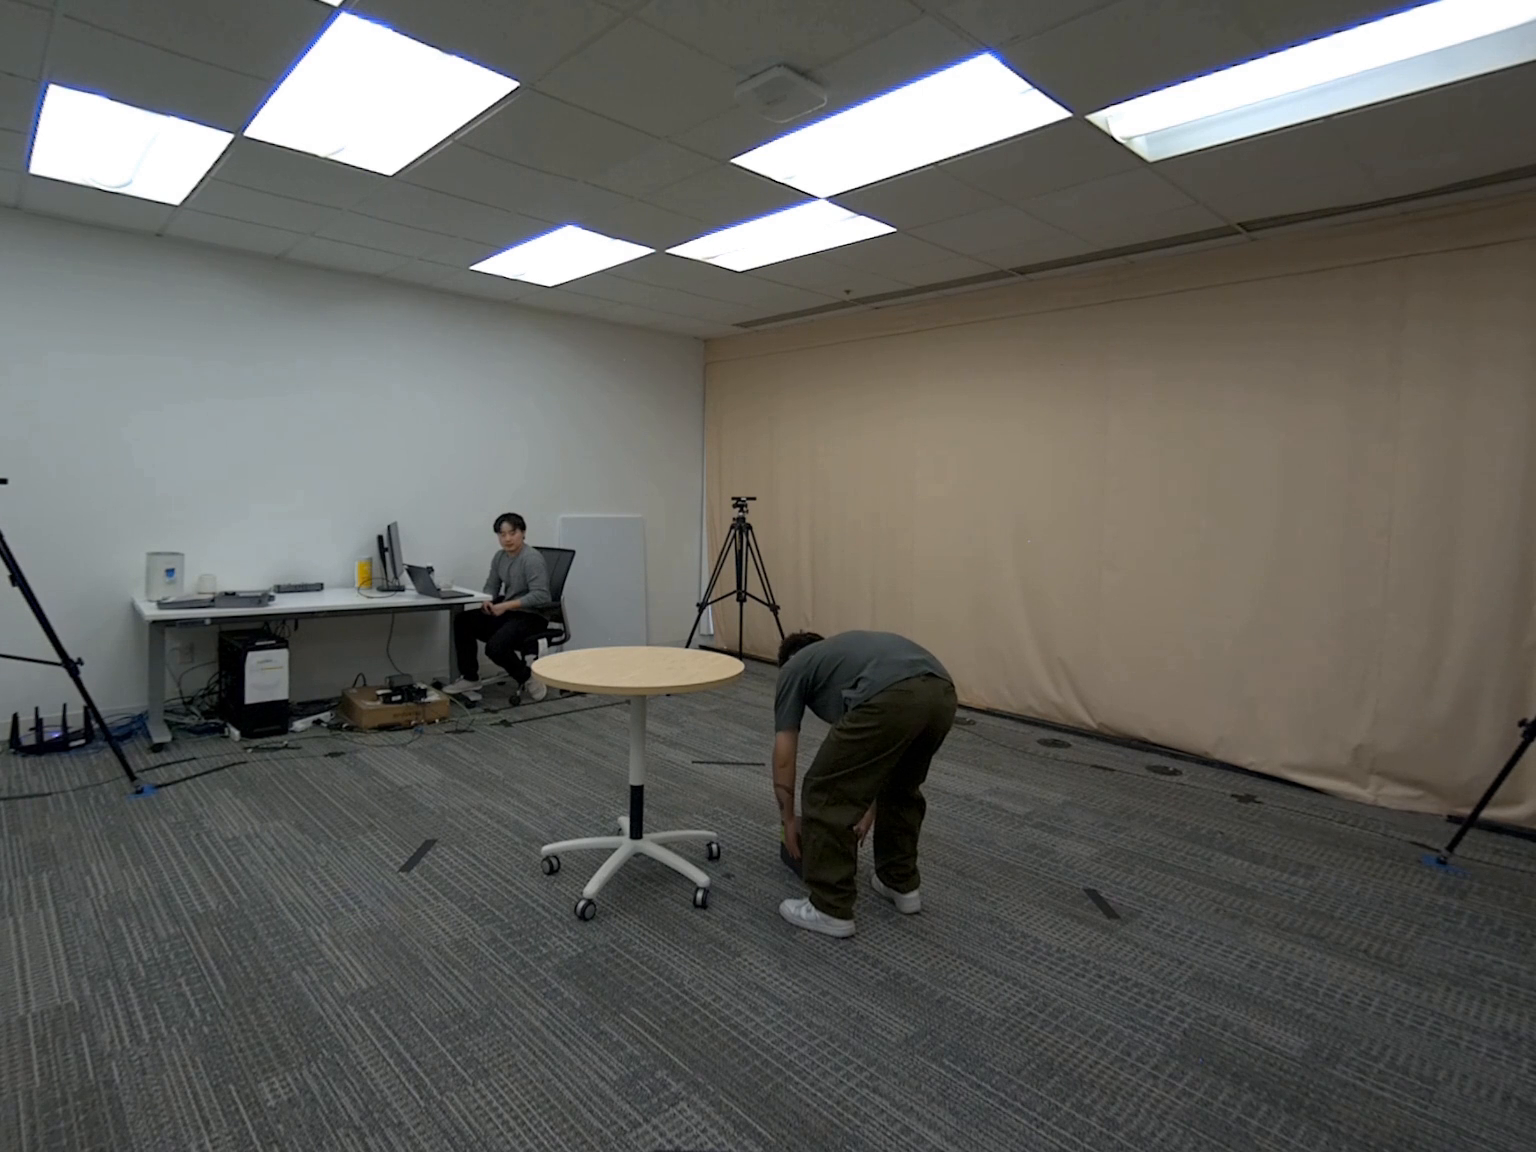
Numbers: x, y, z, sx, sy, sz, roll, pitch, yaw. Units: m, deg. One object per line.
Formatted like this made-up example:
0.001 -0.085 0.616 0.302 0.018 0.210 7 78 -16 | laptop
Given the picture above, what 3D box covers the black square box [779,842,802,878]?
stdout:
0.190 1.025 3.200 0.213 0.155 0.232 0 4 -24 | black square box
